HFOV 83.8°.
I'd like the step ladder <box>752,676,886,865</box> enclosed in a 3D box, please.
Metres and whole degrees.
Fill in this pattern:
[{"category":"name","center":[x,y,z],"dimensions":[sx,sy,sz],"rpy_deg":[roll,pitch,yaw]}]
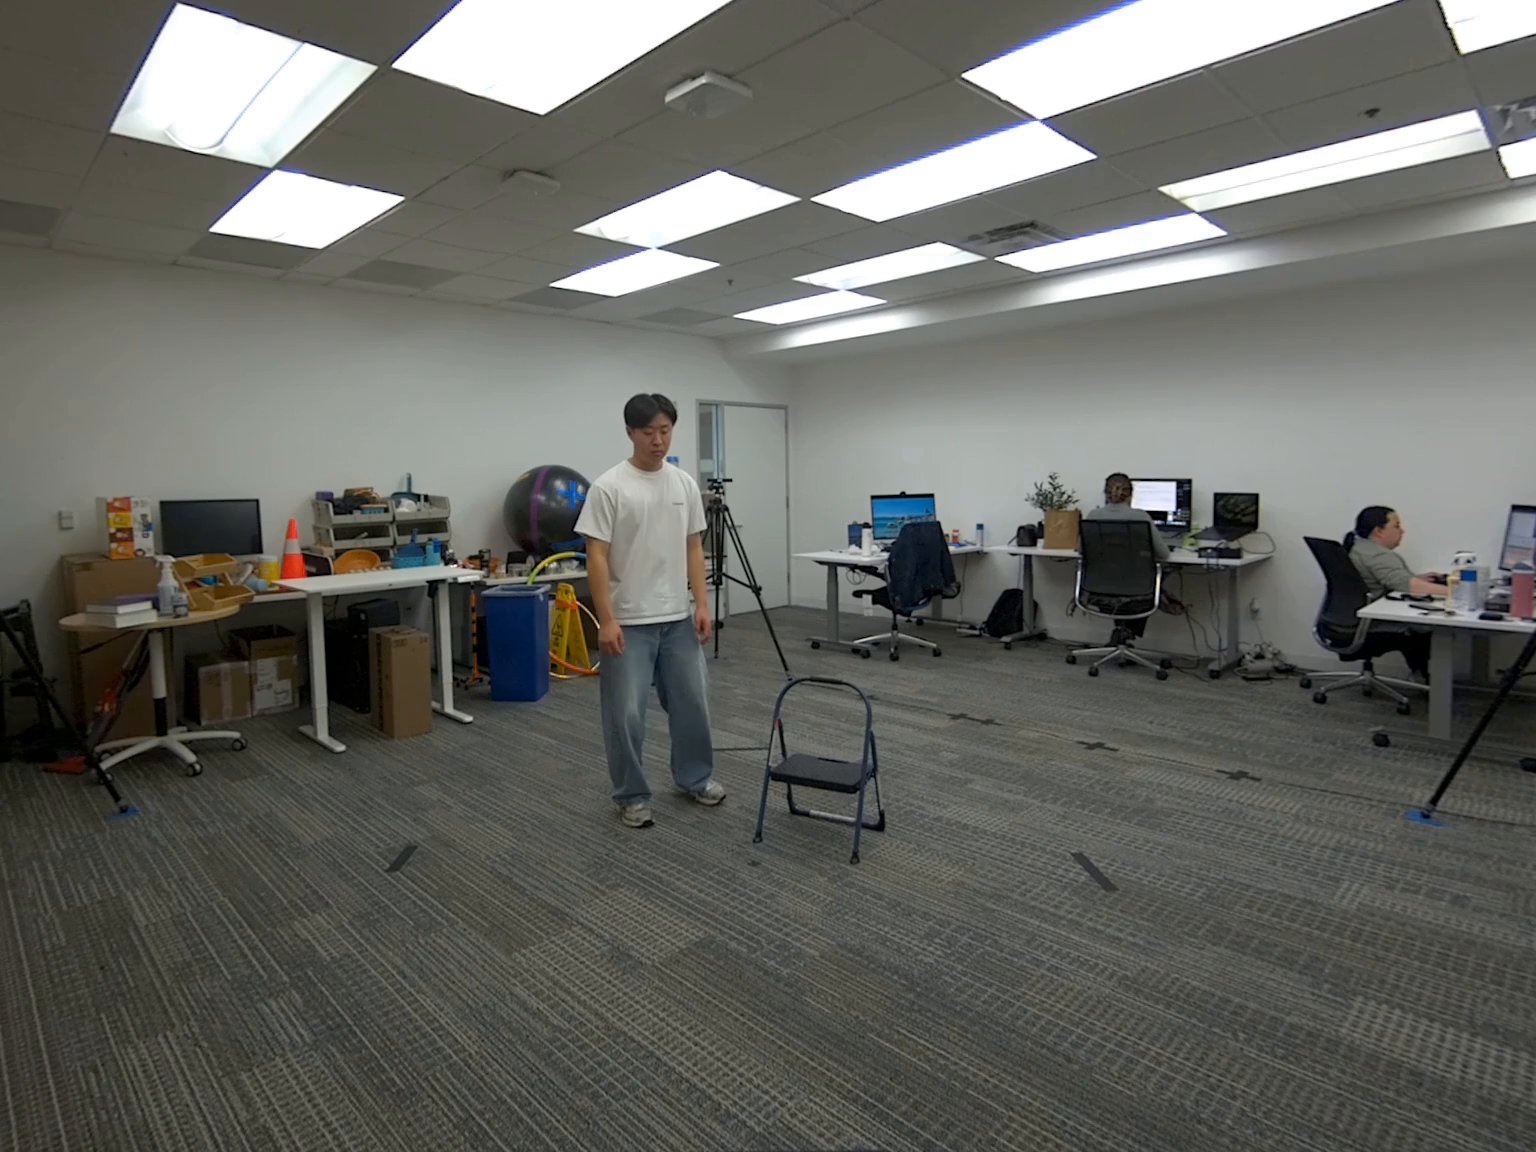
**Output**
[{"category":"step ladder","center":[0.206,0.714,3.316],"dimensions":[0.441,0.604,0.342],"rpy_deg":[1,5,28]}]
